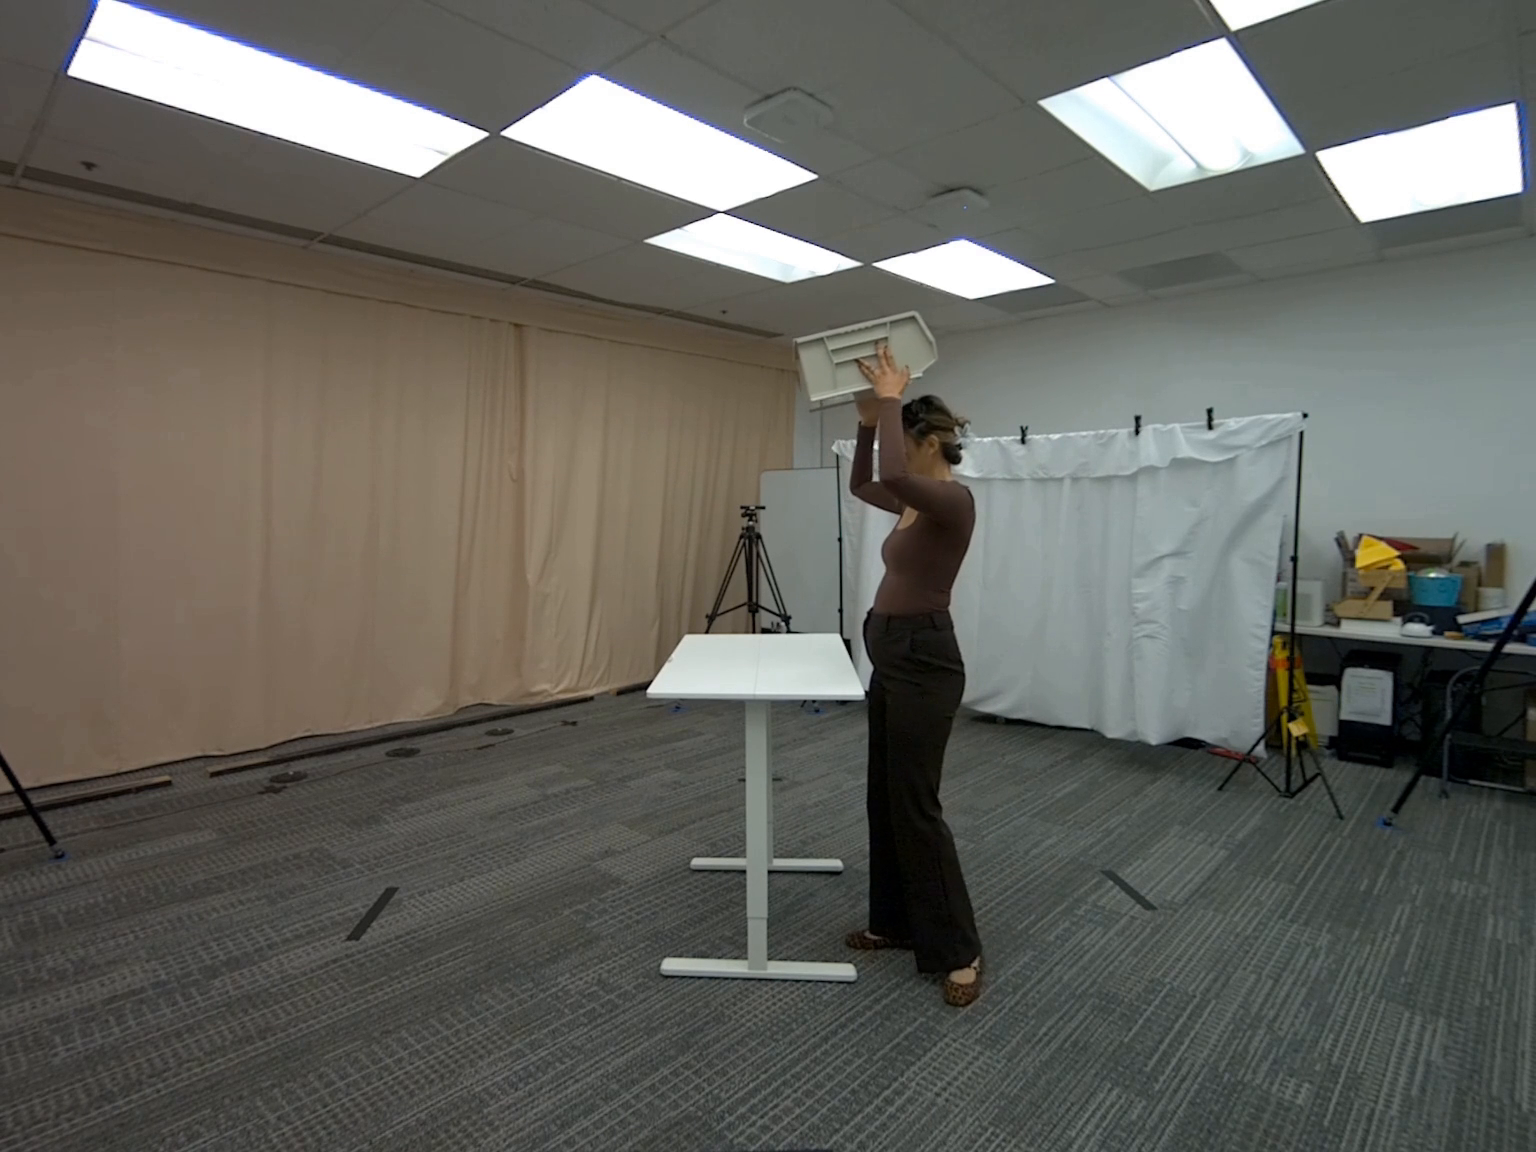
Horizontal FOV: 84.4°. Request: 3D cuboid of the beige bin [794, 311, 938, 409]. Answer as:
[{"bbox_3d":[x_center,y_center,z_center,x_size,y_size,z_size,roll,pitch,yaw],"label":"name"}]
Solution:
[{"bbox_3d":[0.291,-0.633,2.529,0.379,0.188,0.422,-13,6,4],"label":"beige bin"}]
